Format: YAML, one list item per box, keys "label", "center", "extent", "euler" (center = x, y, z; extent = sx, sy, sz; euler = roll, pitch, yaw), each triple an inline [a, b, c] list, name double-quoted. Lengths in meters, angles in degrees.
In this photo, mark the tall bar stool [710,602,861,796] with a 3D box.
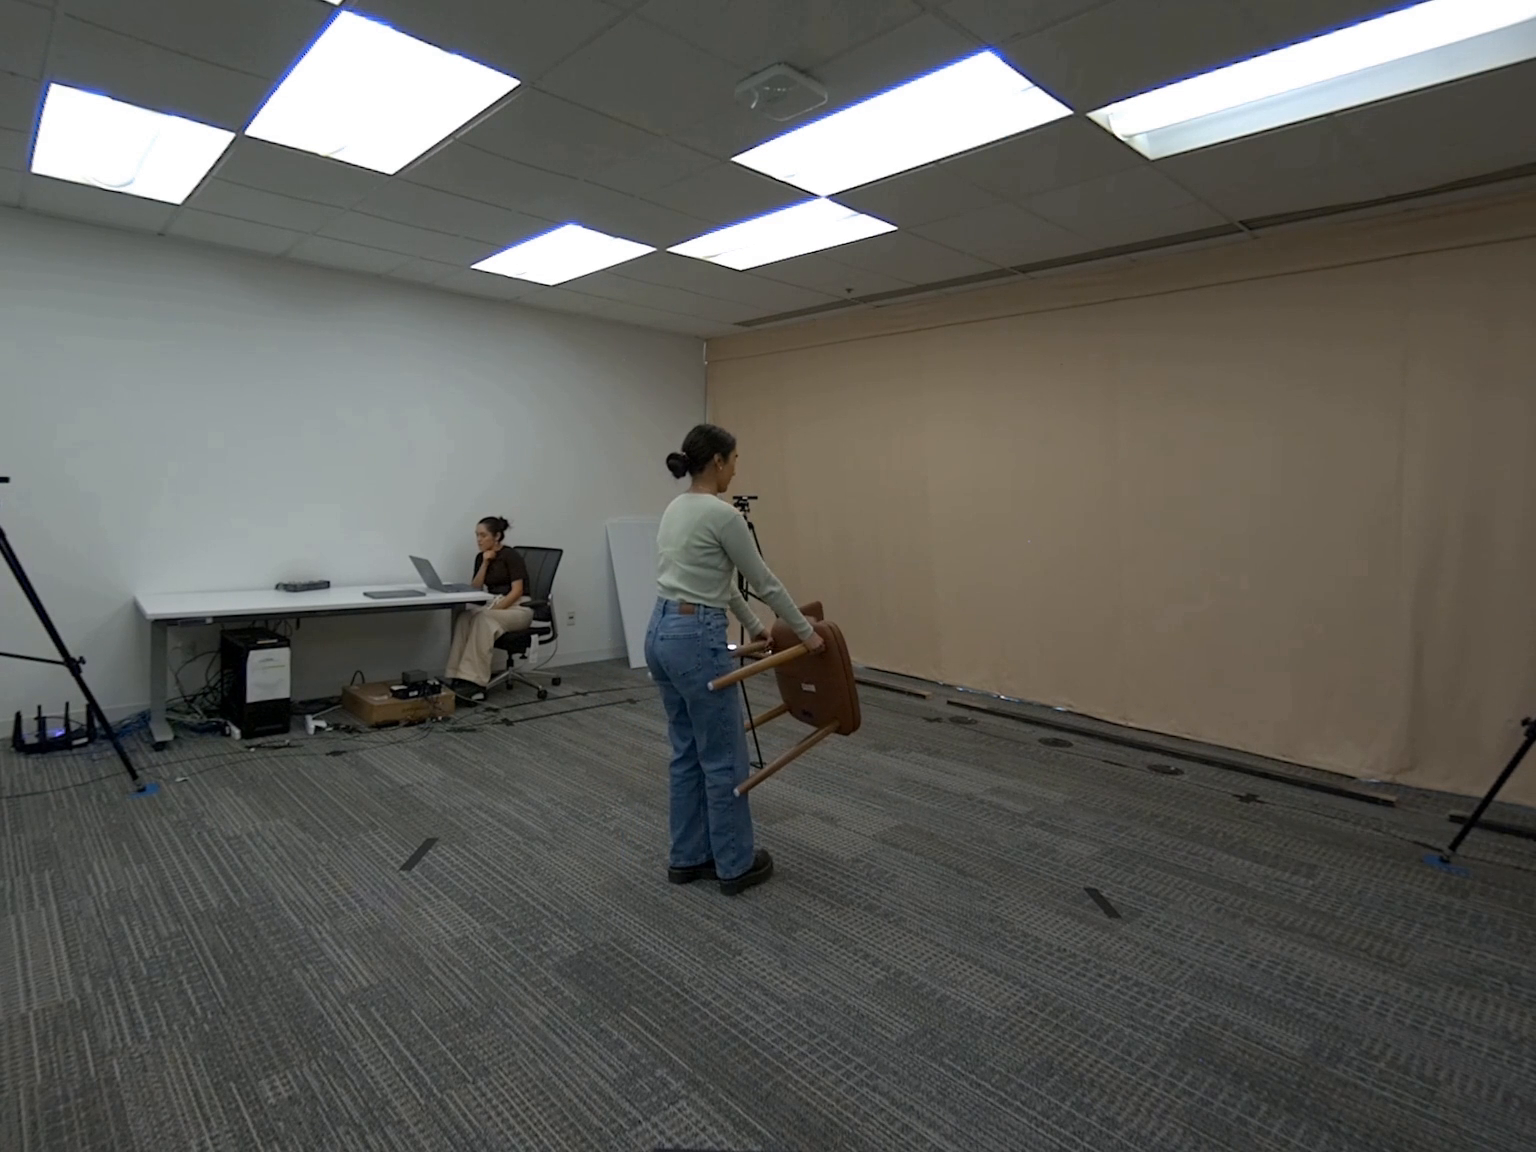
- label: "tall bar stool"
  center: [0.048, 0.421, 3.210]
  extent: [0.877, 0.453, 0.478]
  euler: [-20, 11, -36]
